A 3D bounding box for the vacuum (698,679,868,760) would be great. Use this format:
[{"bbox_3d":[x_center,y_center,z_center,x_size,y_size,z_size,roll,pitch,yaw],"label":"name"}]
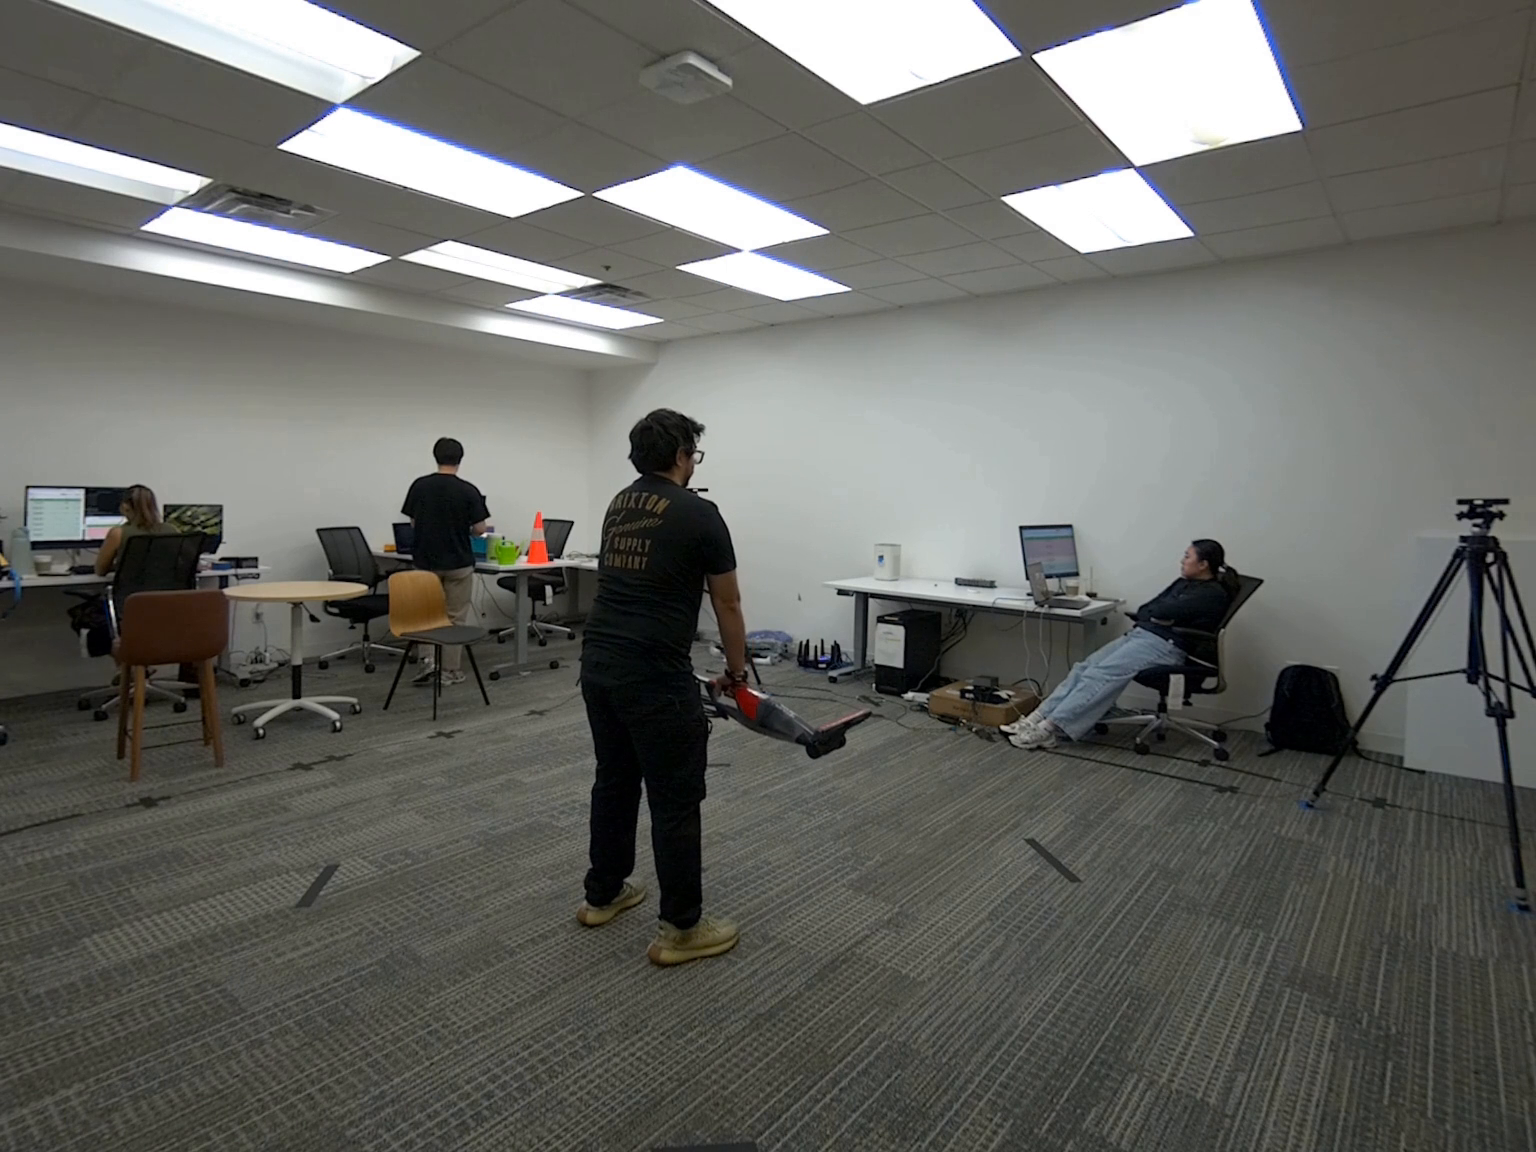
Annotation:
[{"bbox_3d":[-0.199,0.398,2.848,1.087,0.142,0.247,9,17,43],"label":"vacuum"}]
